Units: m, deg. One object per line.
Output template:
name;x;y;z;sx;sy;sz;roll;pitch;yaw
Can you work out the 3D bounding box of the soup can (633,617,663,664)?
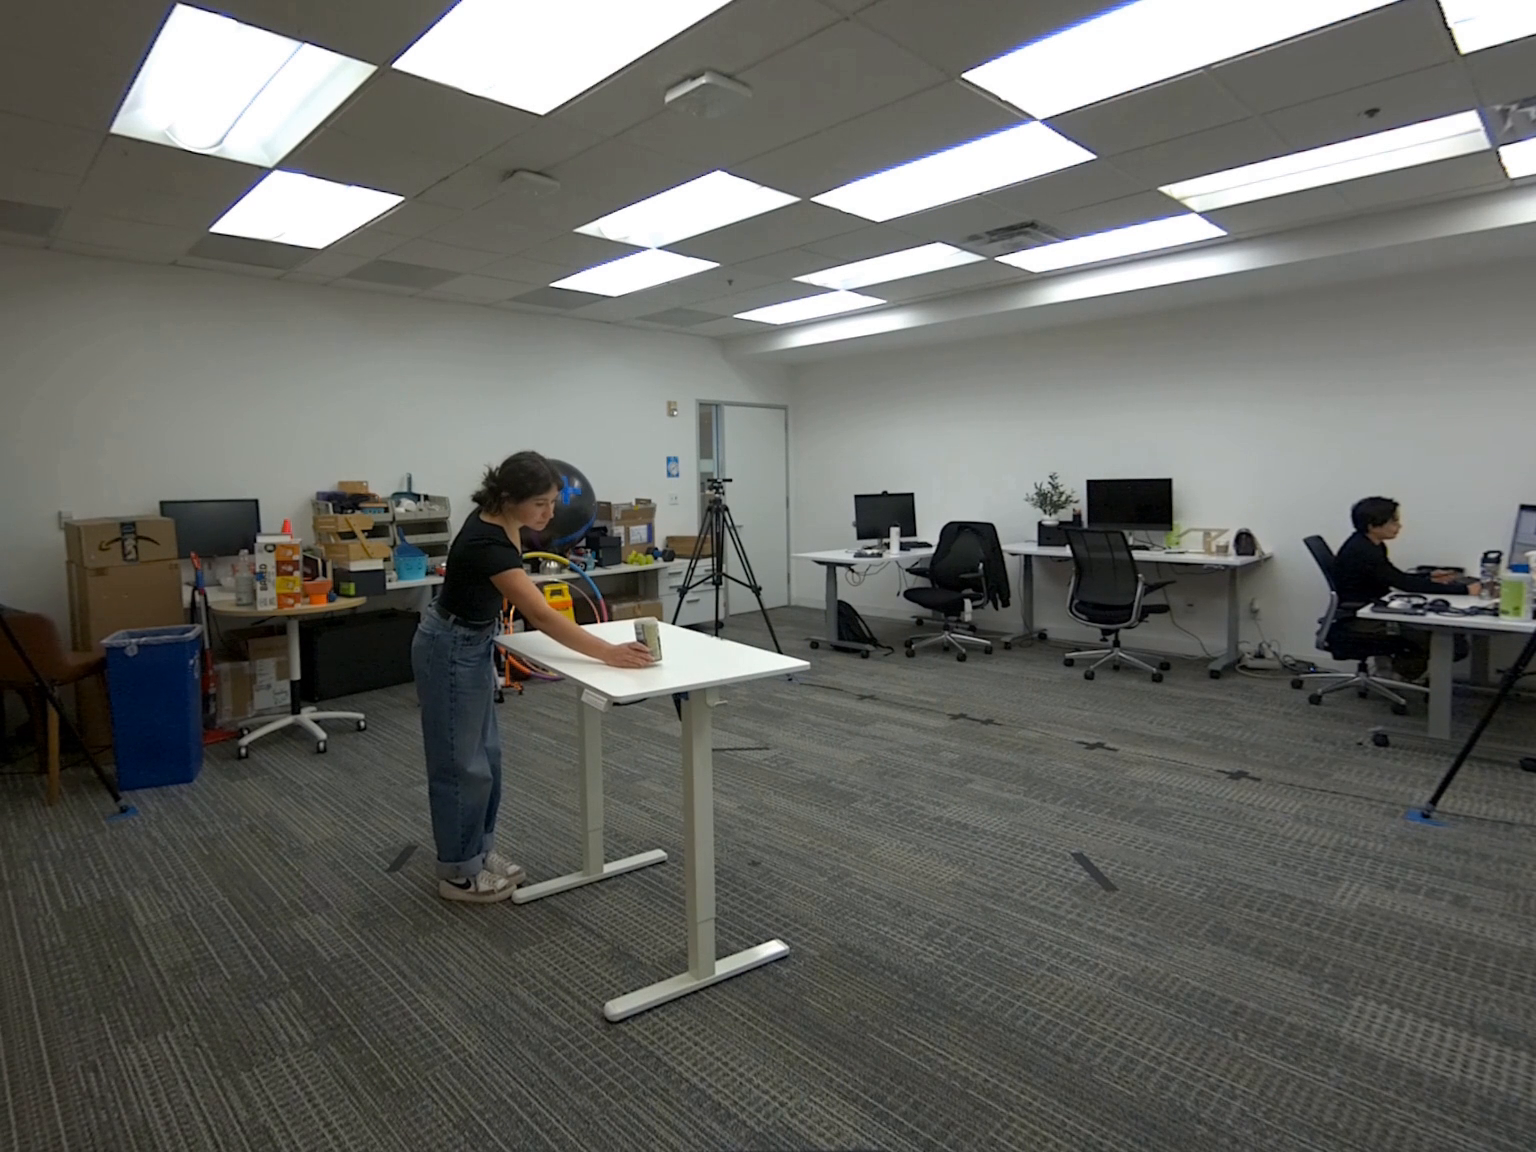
soup can;-0.327;0.177;2.390;0.067;0.122;0.067;-8;-1;-2
